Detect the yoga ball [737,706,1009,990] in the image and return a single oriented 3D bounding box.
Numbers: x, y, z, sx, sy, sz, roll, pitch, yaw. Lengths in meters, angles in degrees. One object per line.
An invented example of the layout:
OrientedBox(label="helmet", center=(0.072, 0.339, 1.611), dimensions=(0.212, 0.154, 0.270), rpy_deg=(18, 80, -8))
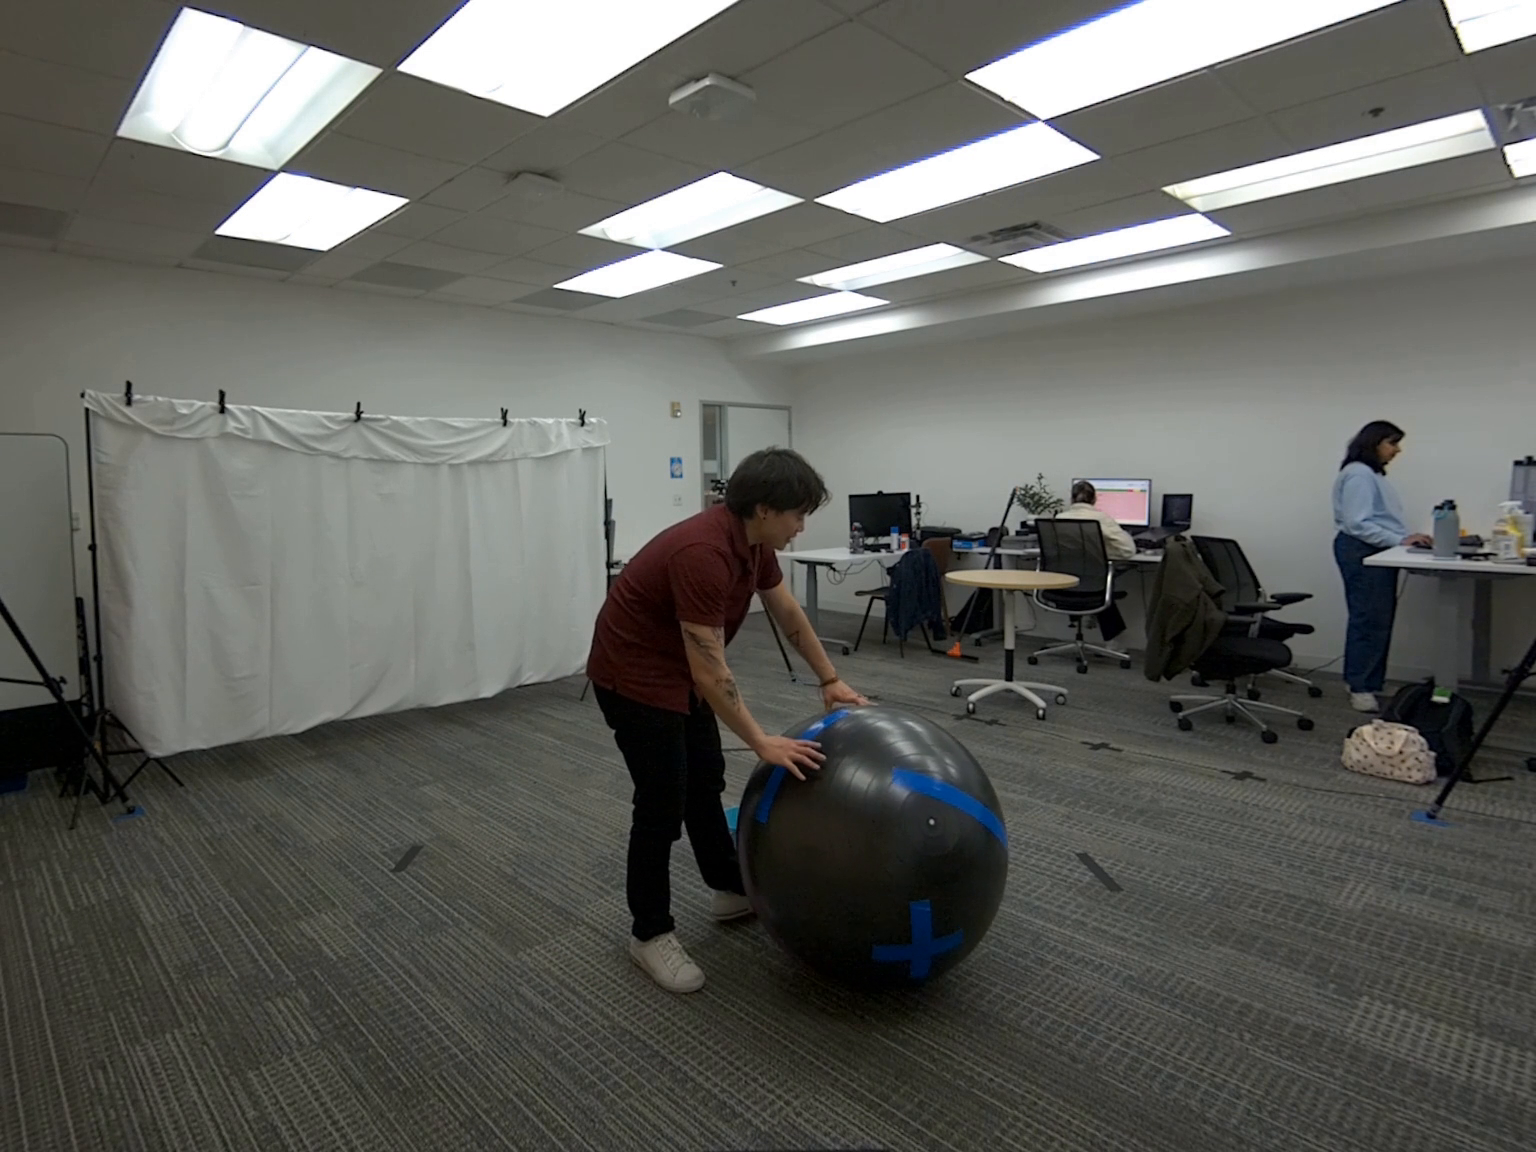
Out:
OrientedBox(label="yoga ball", center=(0.304, 0.762, 2.429), dimensions=(0.757, 0.755, 0.762), rpy_deg=(-1, 5, -2))
